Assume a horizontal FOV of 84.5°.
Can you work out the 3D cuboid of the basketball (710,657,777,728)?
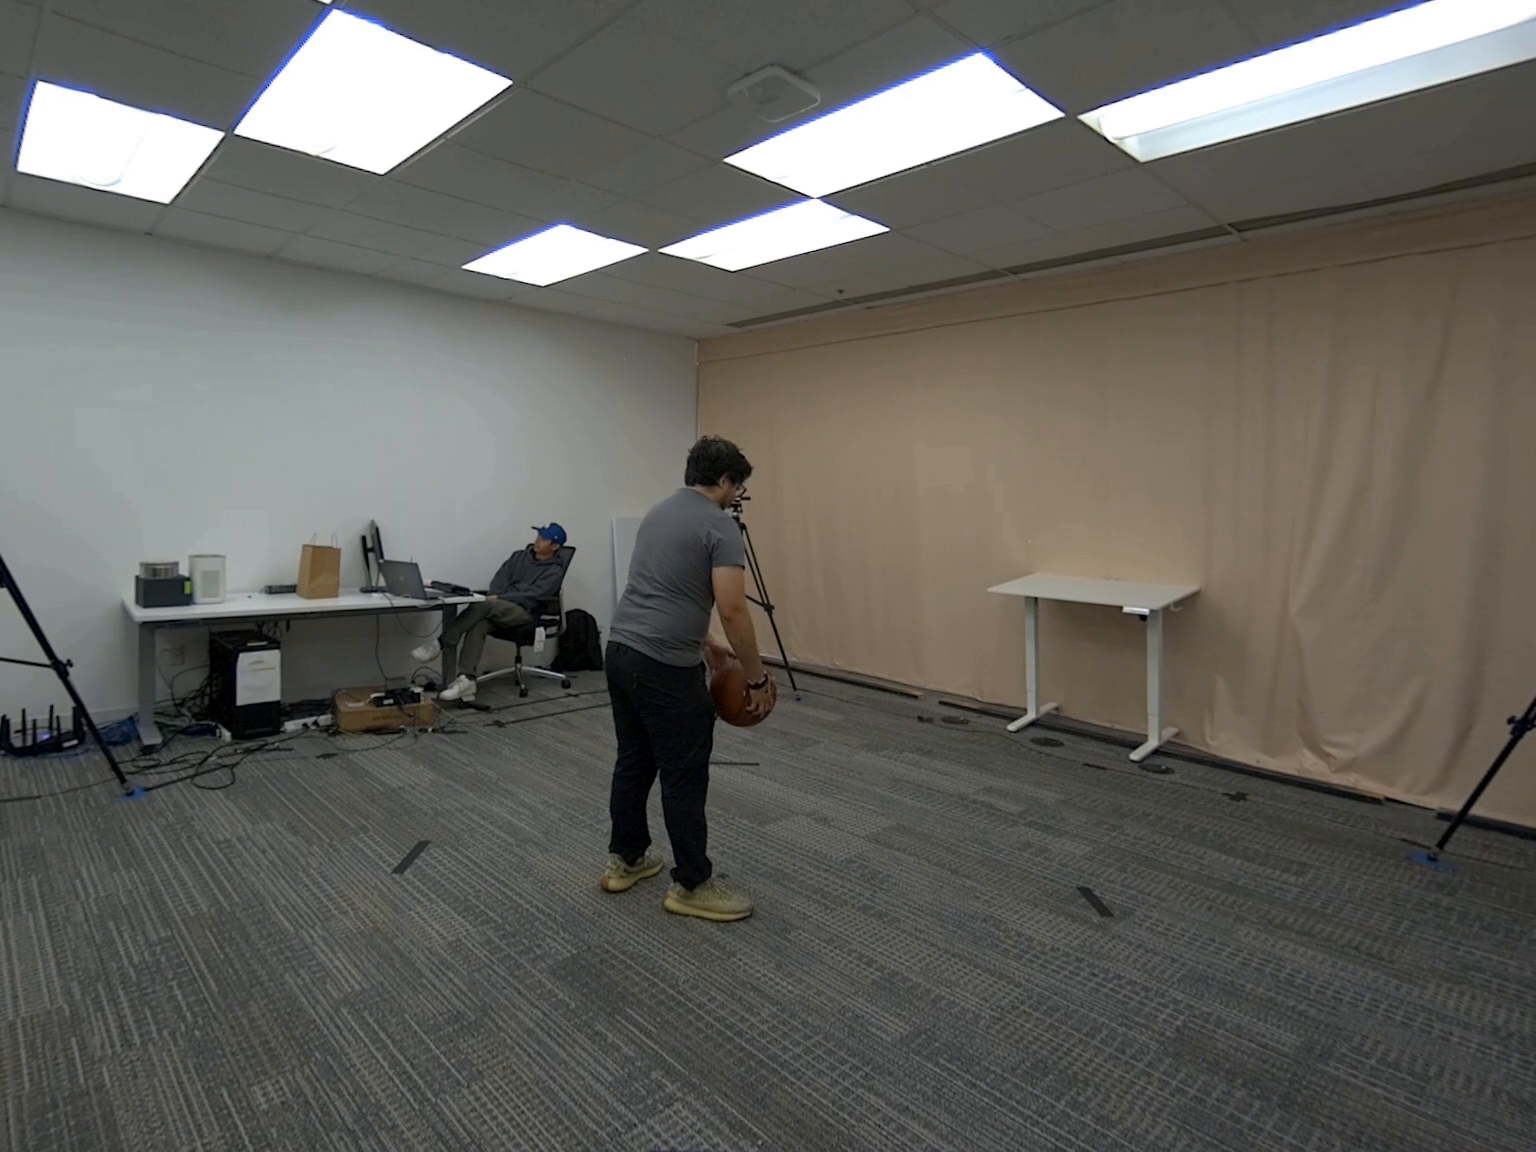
[{"bbox_3d":[-0.090,0.410,2.954,0.236,0.235,0.237,1,4,-1],"label":"basketball"}]
